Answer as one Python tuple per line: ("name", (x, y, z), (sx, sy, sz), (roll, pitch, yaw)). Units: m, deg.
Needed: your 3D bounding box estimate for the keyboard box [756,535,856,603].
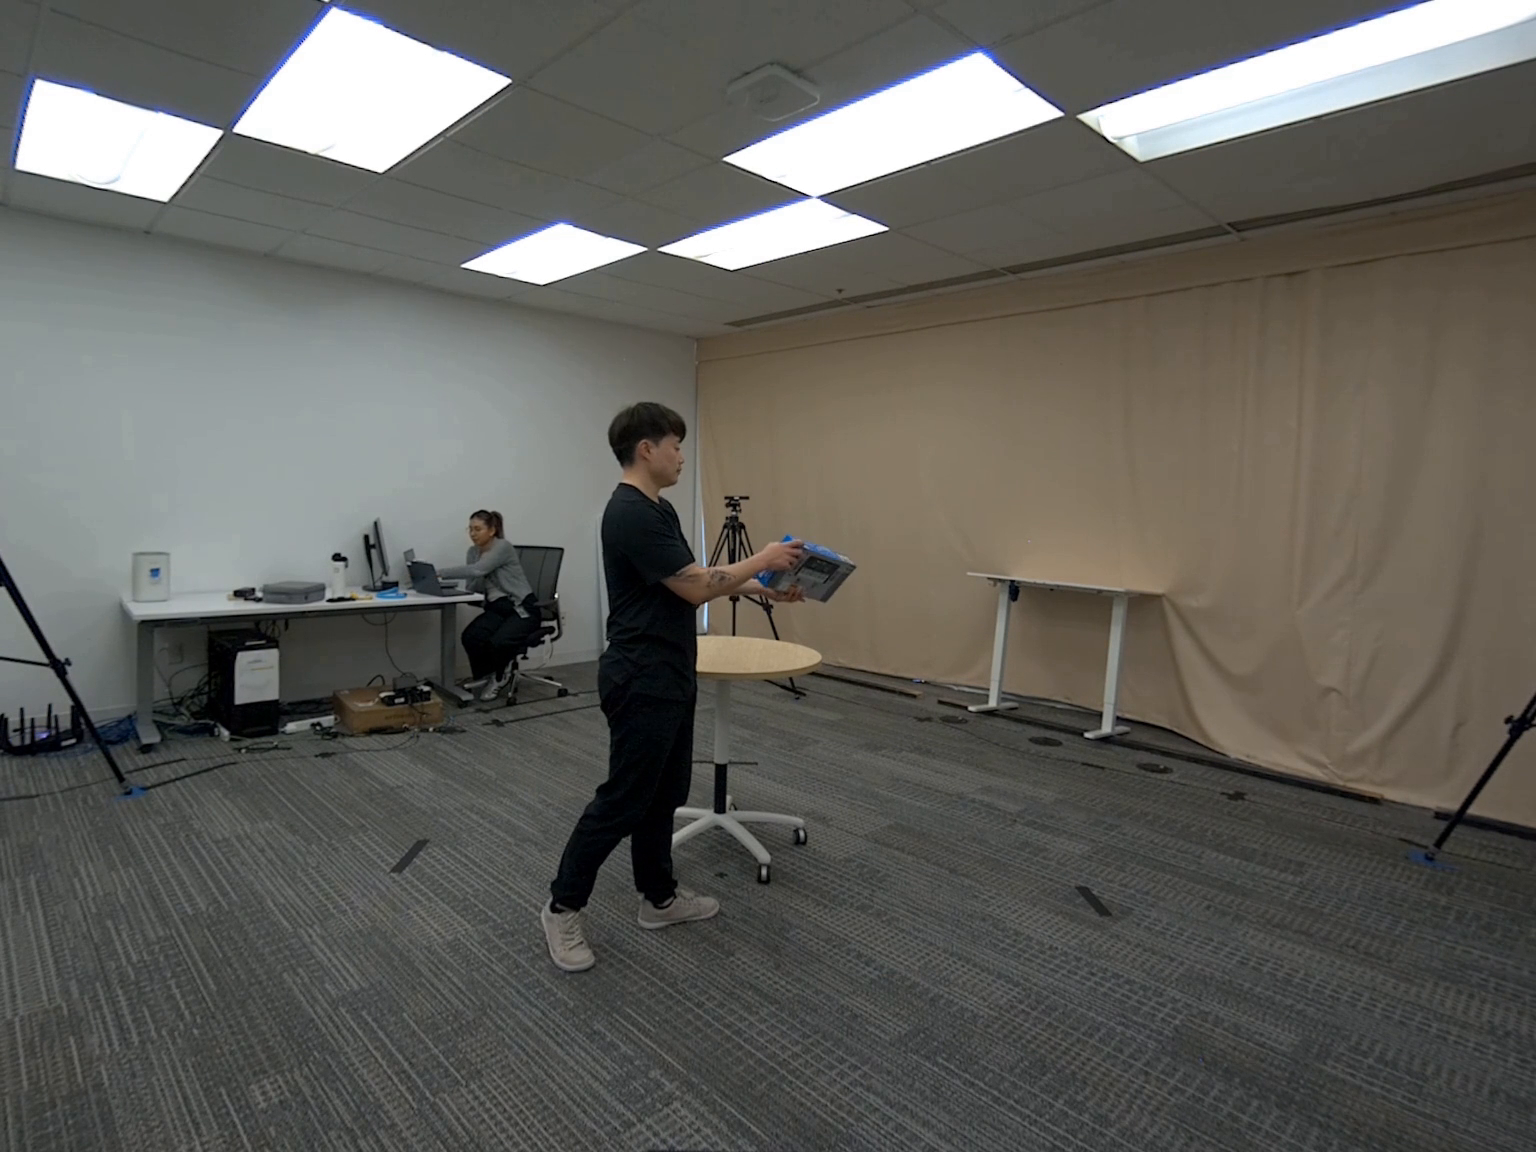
("keyboard box", (0.124, -0.012, 2.773), (0.061, 0.176, 0.425), (47, 15, 28))
